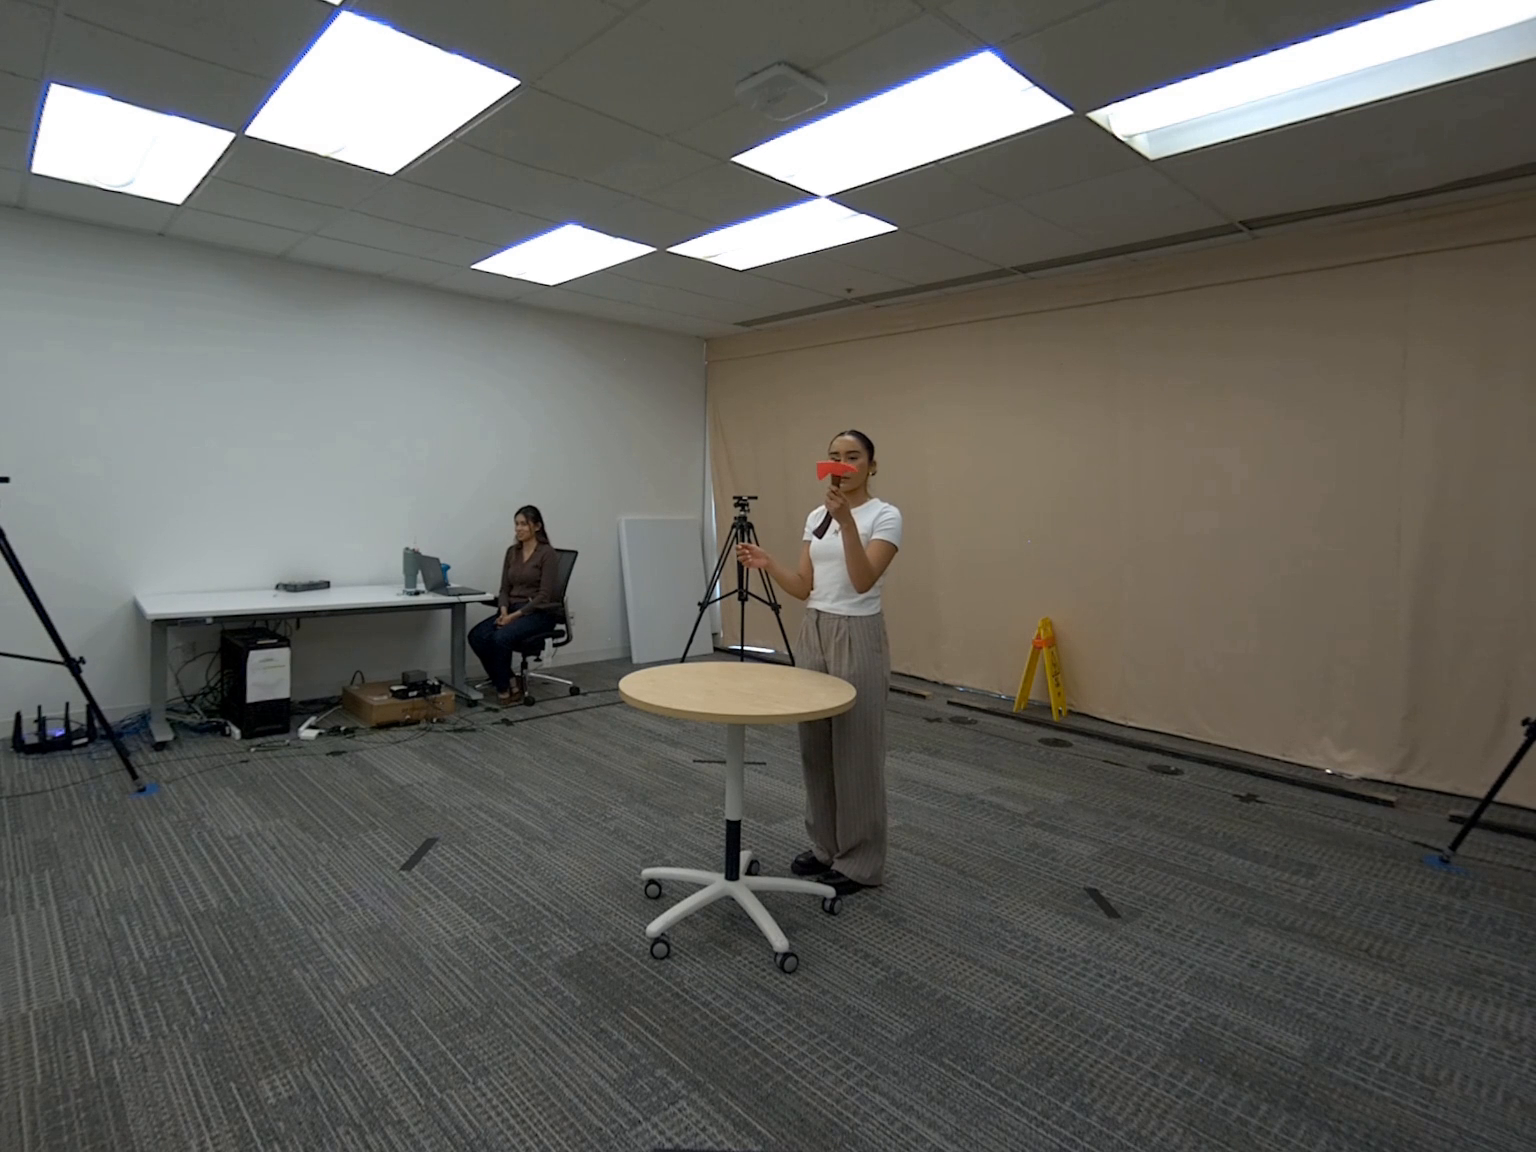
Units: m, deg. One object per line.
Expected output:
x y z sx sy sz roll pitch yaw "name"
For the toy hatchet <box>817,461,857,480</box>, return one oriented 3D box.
0.184 -0.261 2.729 0.132 0.268 0.029 29 20 10 "toy hatchet"
